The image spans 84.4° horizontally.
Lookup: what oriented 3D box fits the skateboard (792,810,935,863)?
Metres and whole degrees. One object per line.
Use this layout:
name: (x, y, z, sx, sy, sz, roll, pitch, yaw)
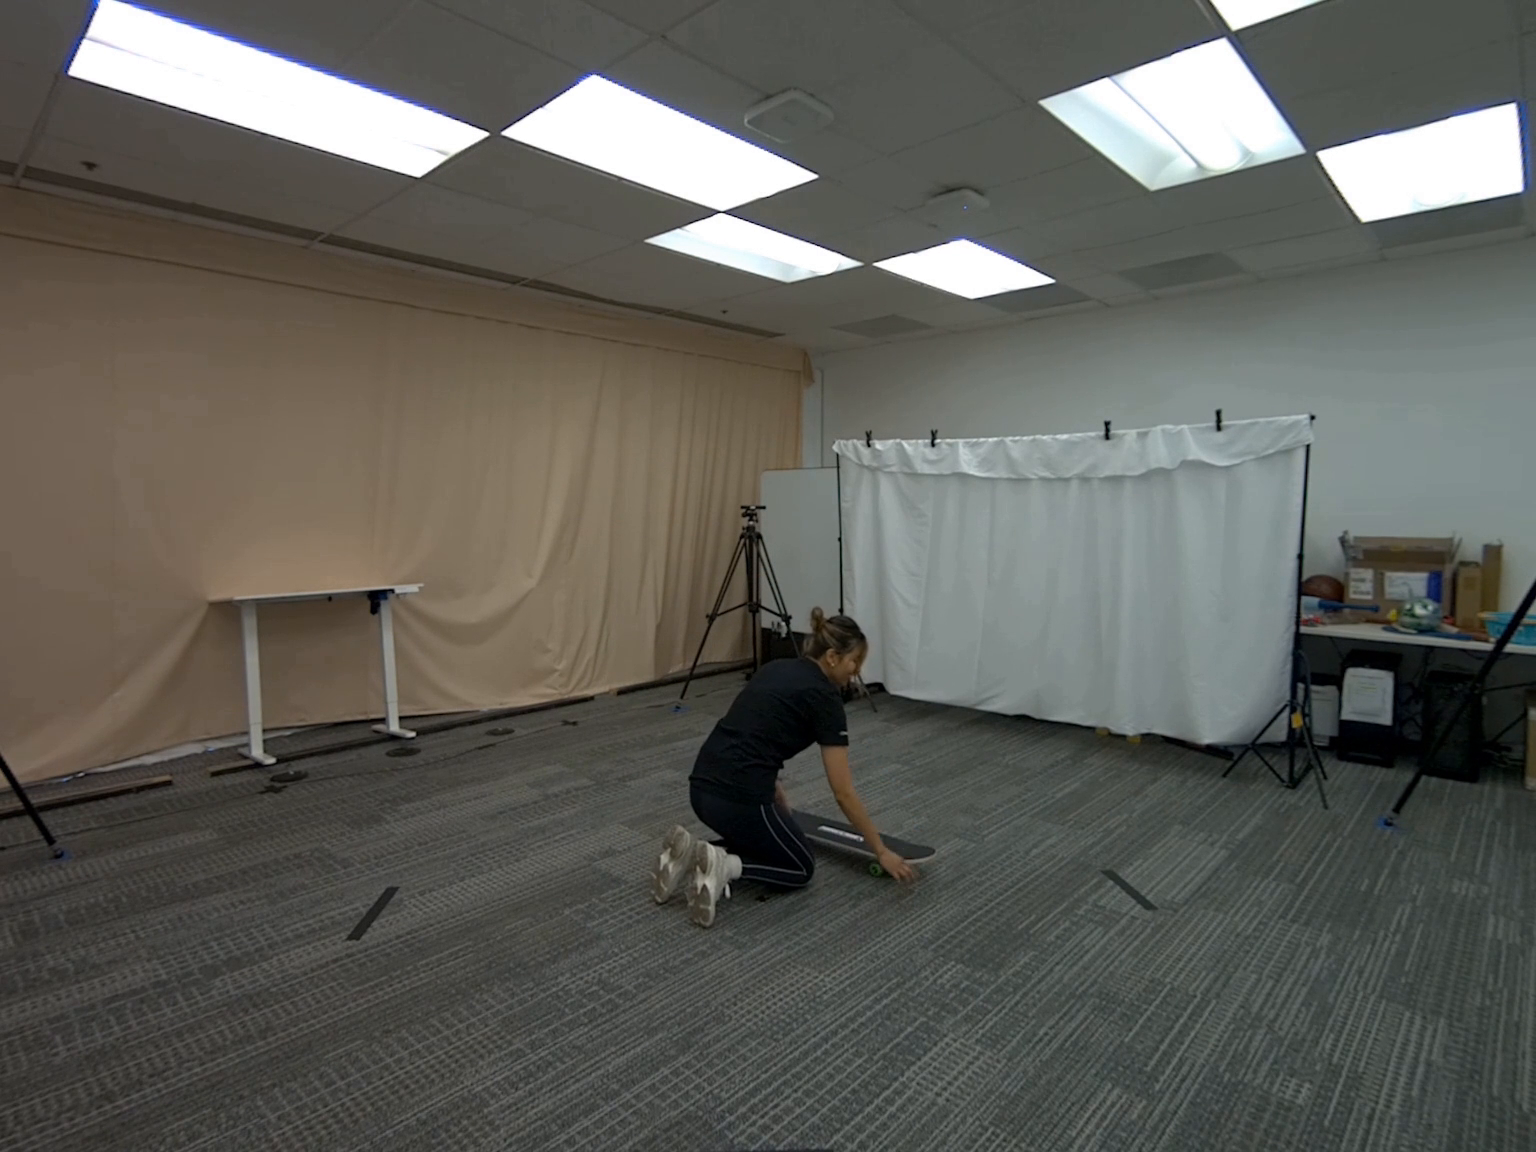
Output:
skateboard: (0.293, 1.045, 3.339, 0.811, 0.110, 0.188, 4, 6, 38)
